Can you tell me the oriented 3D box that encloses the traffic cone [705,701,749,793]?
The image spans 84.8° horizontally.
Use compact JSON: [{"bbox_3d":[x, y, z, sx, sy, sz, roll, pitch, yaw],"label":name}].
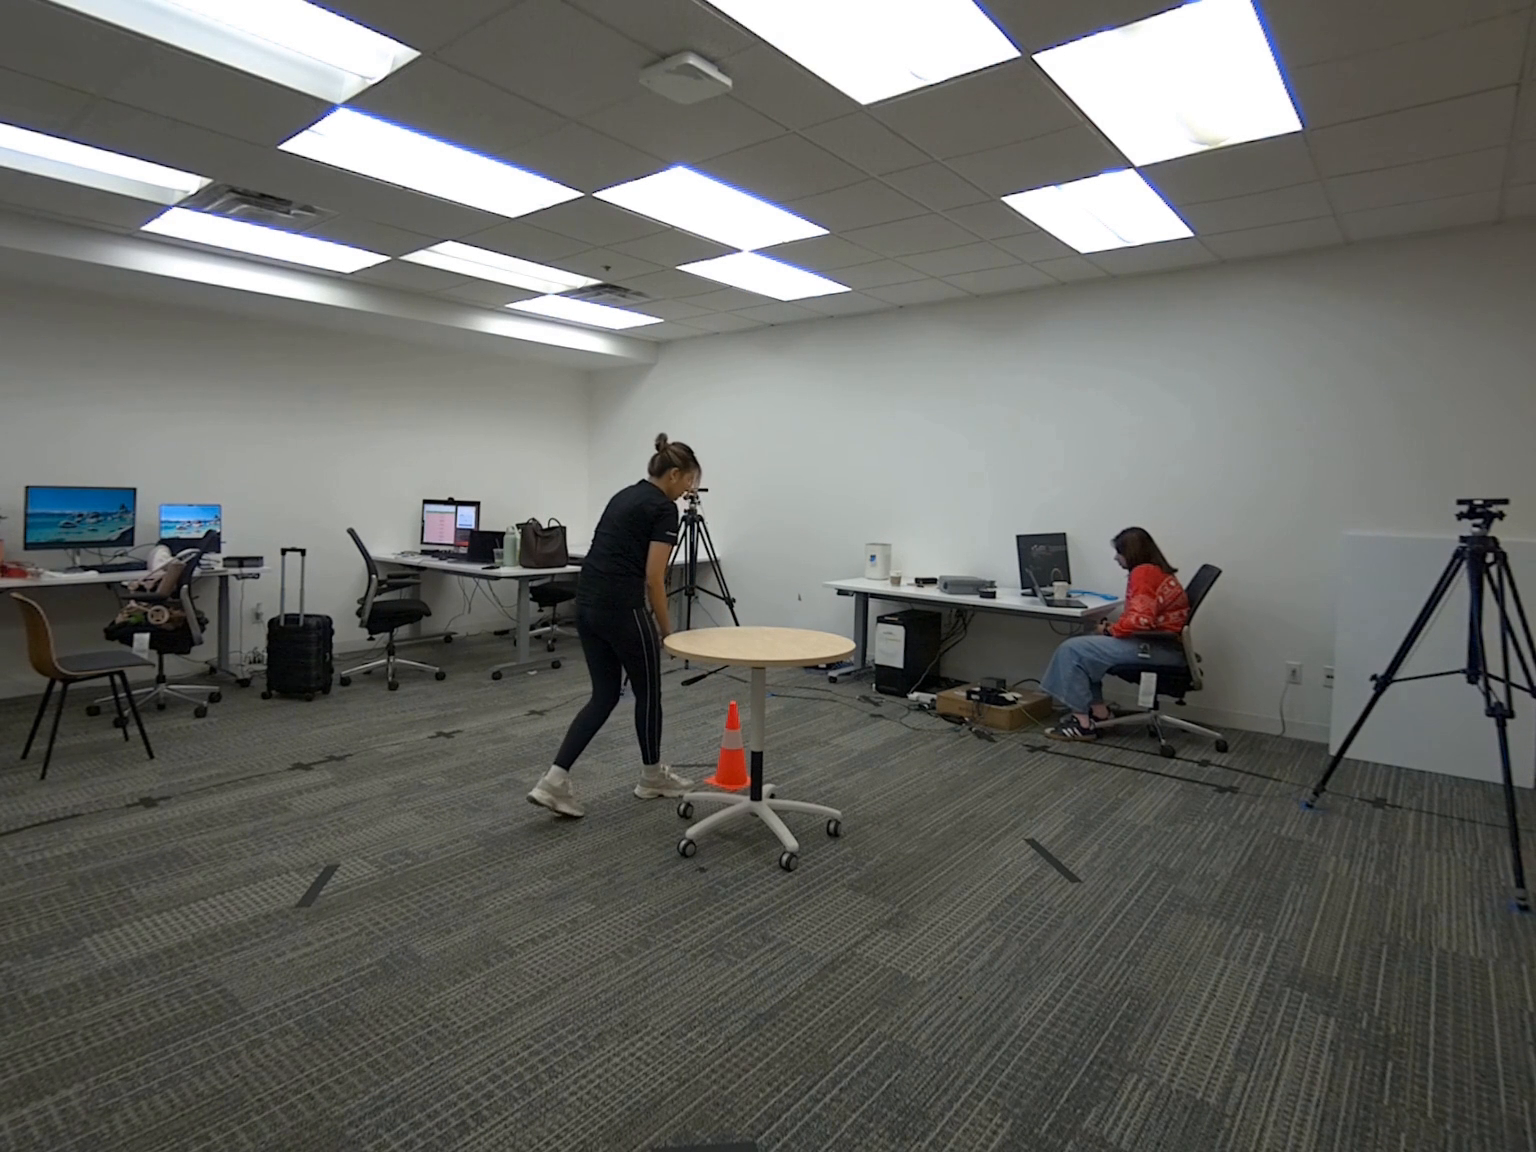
[{"bbox_3d":[-0.191,0.791,4.071,0.212,0.383,0.197,2,2,43],"label":"traffic cone"}]
